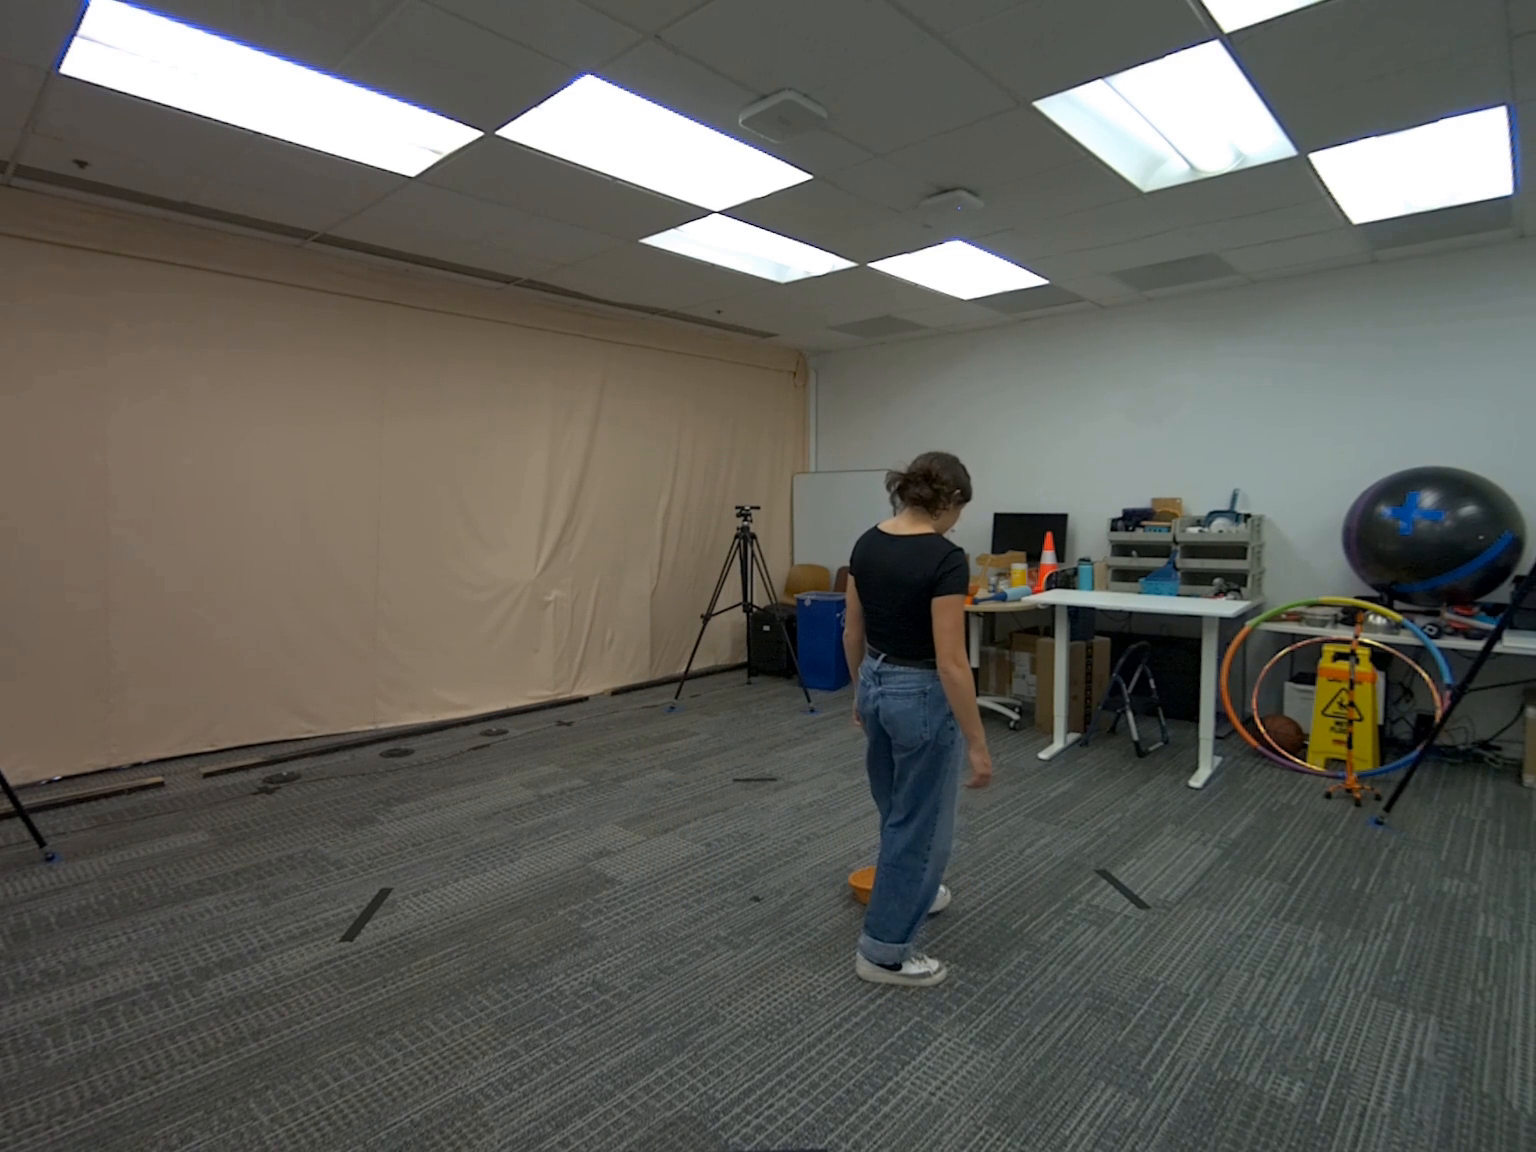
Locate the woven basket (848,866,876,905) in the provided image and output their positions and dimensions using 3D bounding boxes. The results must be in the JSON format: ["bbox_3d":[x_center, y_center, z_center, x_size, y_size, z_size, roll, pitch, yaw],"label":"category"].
[{"bbox_3d":[0.453,1.096,2.994,0.344,0.073,0.257,-4,-1,-19],"label":"woven basket"}]
